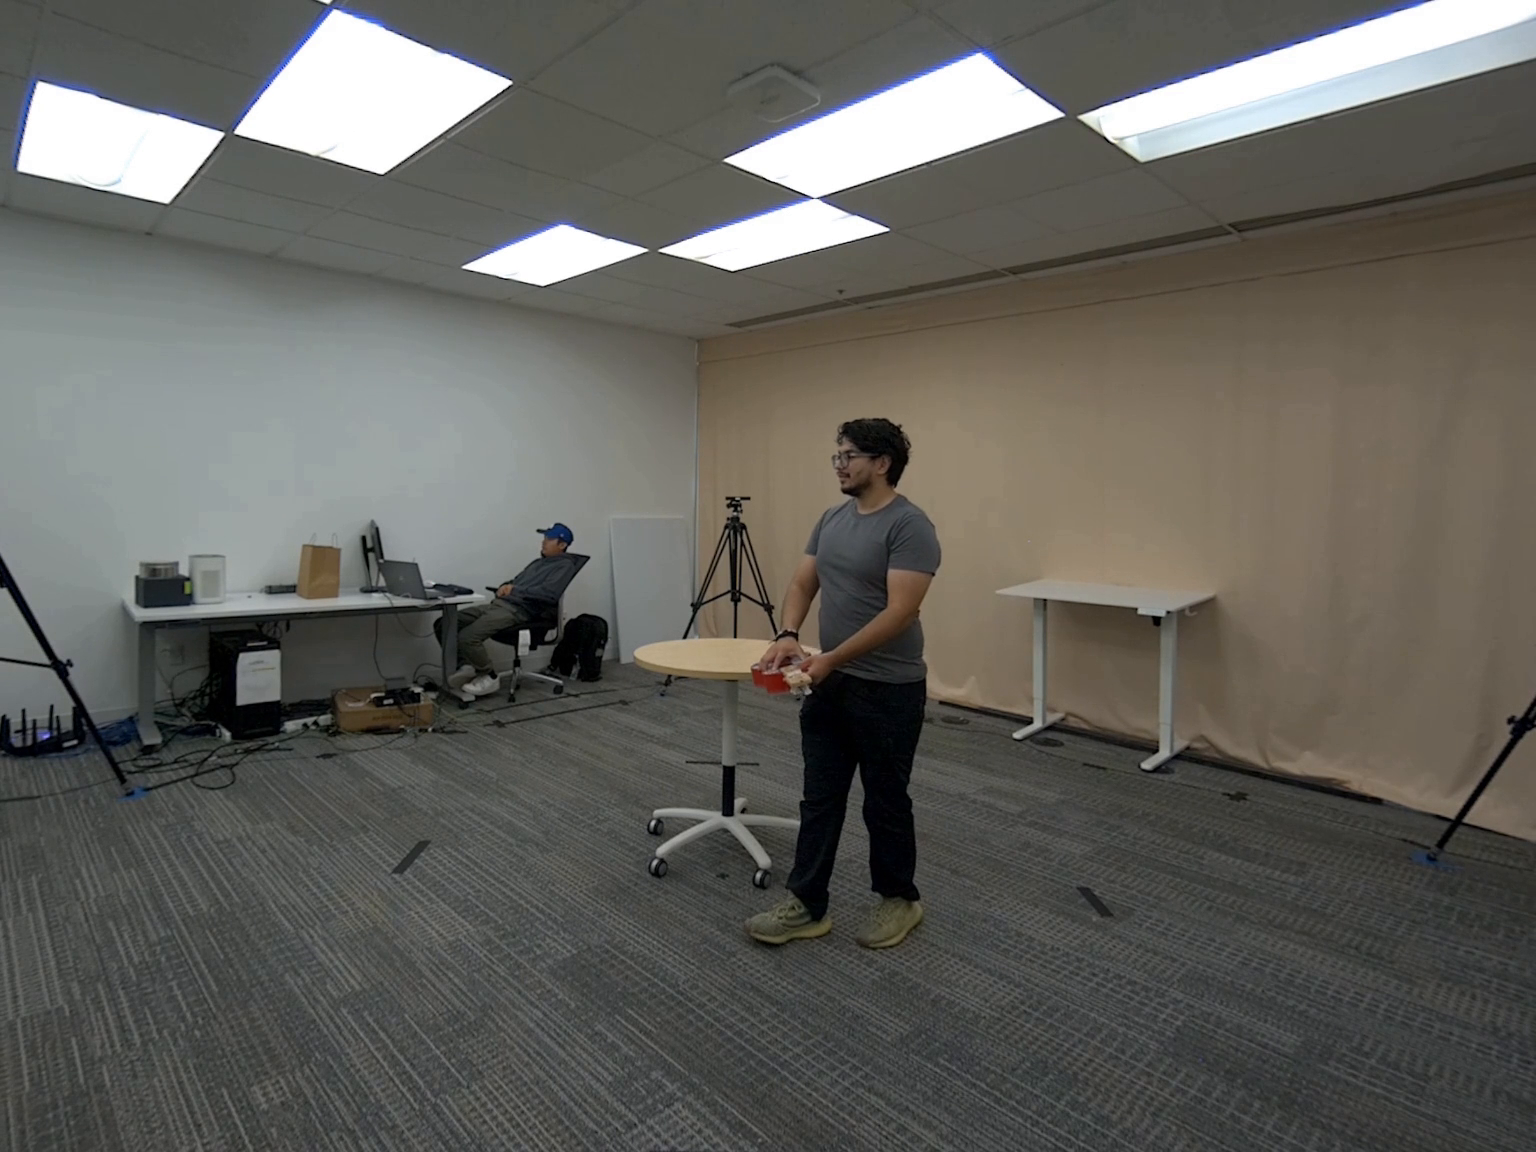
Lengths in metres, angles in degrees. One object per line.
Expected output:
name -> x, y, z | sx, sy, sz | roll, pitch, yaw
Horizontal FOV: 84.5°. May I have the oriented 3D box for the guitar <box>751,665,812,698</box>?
guitar -> 0.028, 0.297, 2.415 | 0.194, 0.070, 0.497 | -15, 4, 6
